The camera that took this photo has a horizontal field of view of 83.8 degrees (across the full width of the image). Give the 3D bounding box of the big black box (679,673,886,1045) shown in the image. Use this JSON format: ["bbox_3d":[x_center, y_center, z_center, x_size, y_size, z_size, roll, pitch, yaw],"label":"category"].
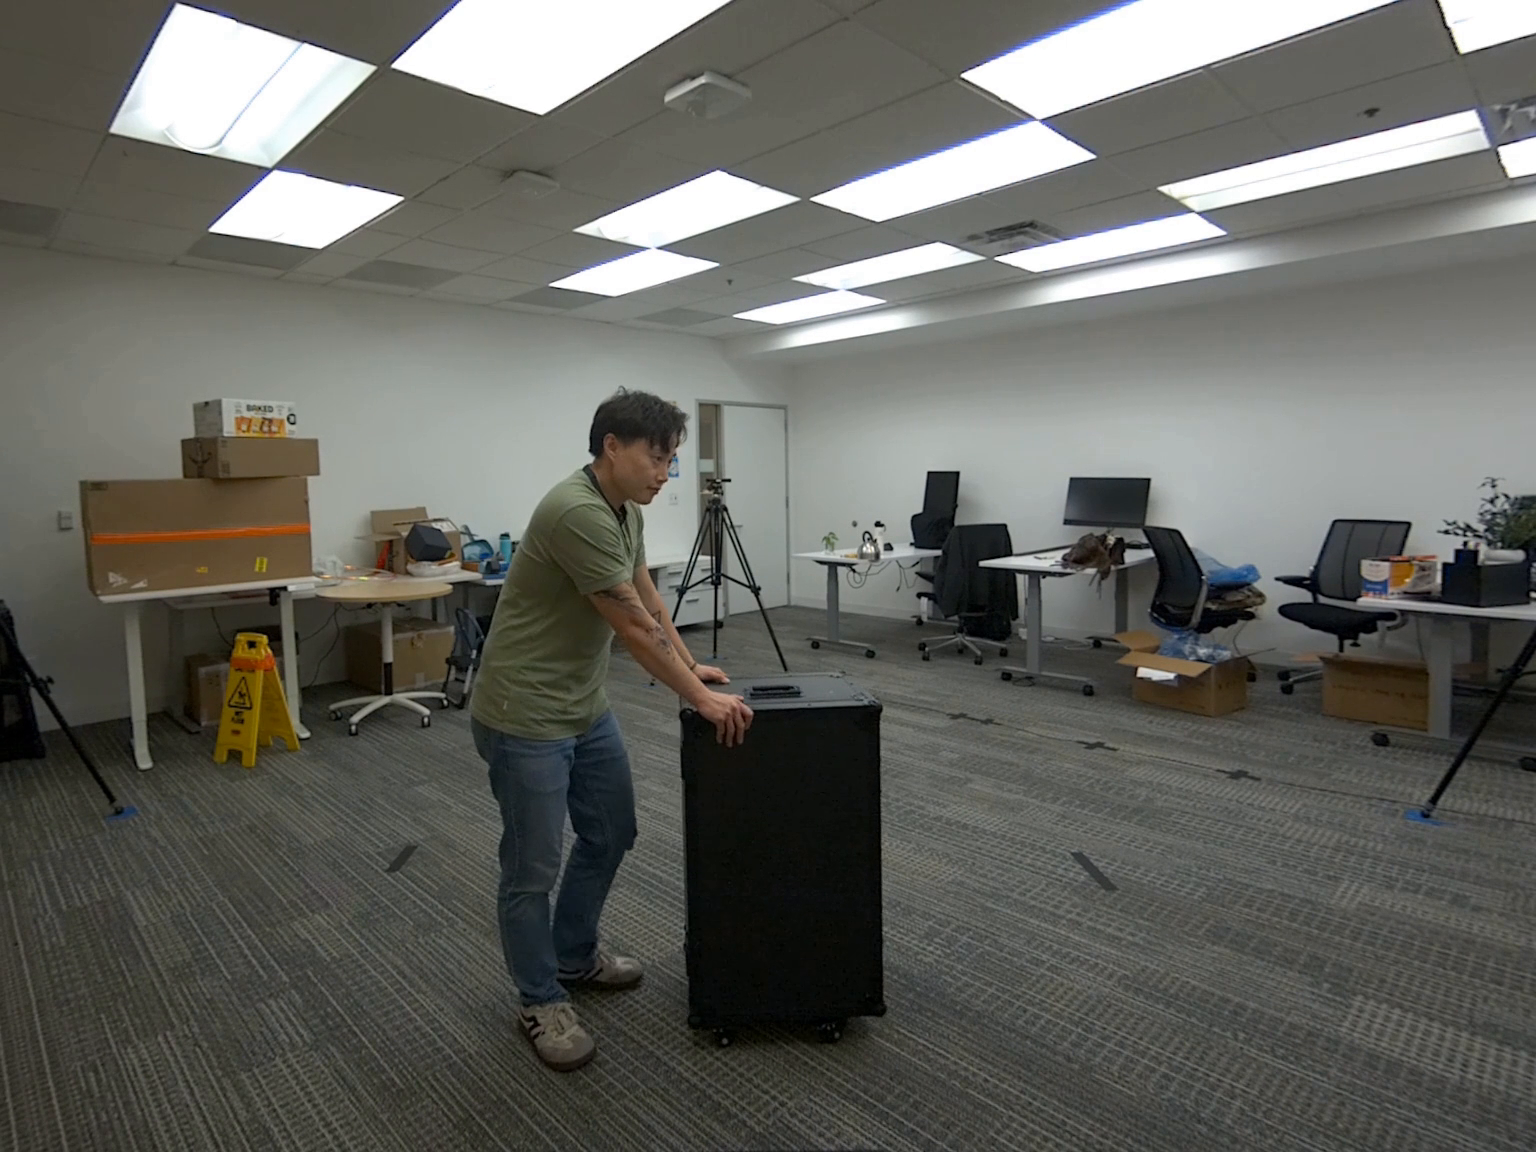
[{"bbox_3d":[0.016,0.722,2.251,0.519,0.859,0.399,-1,3,-4],"label":"big black box"}]
